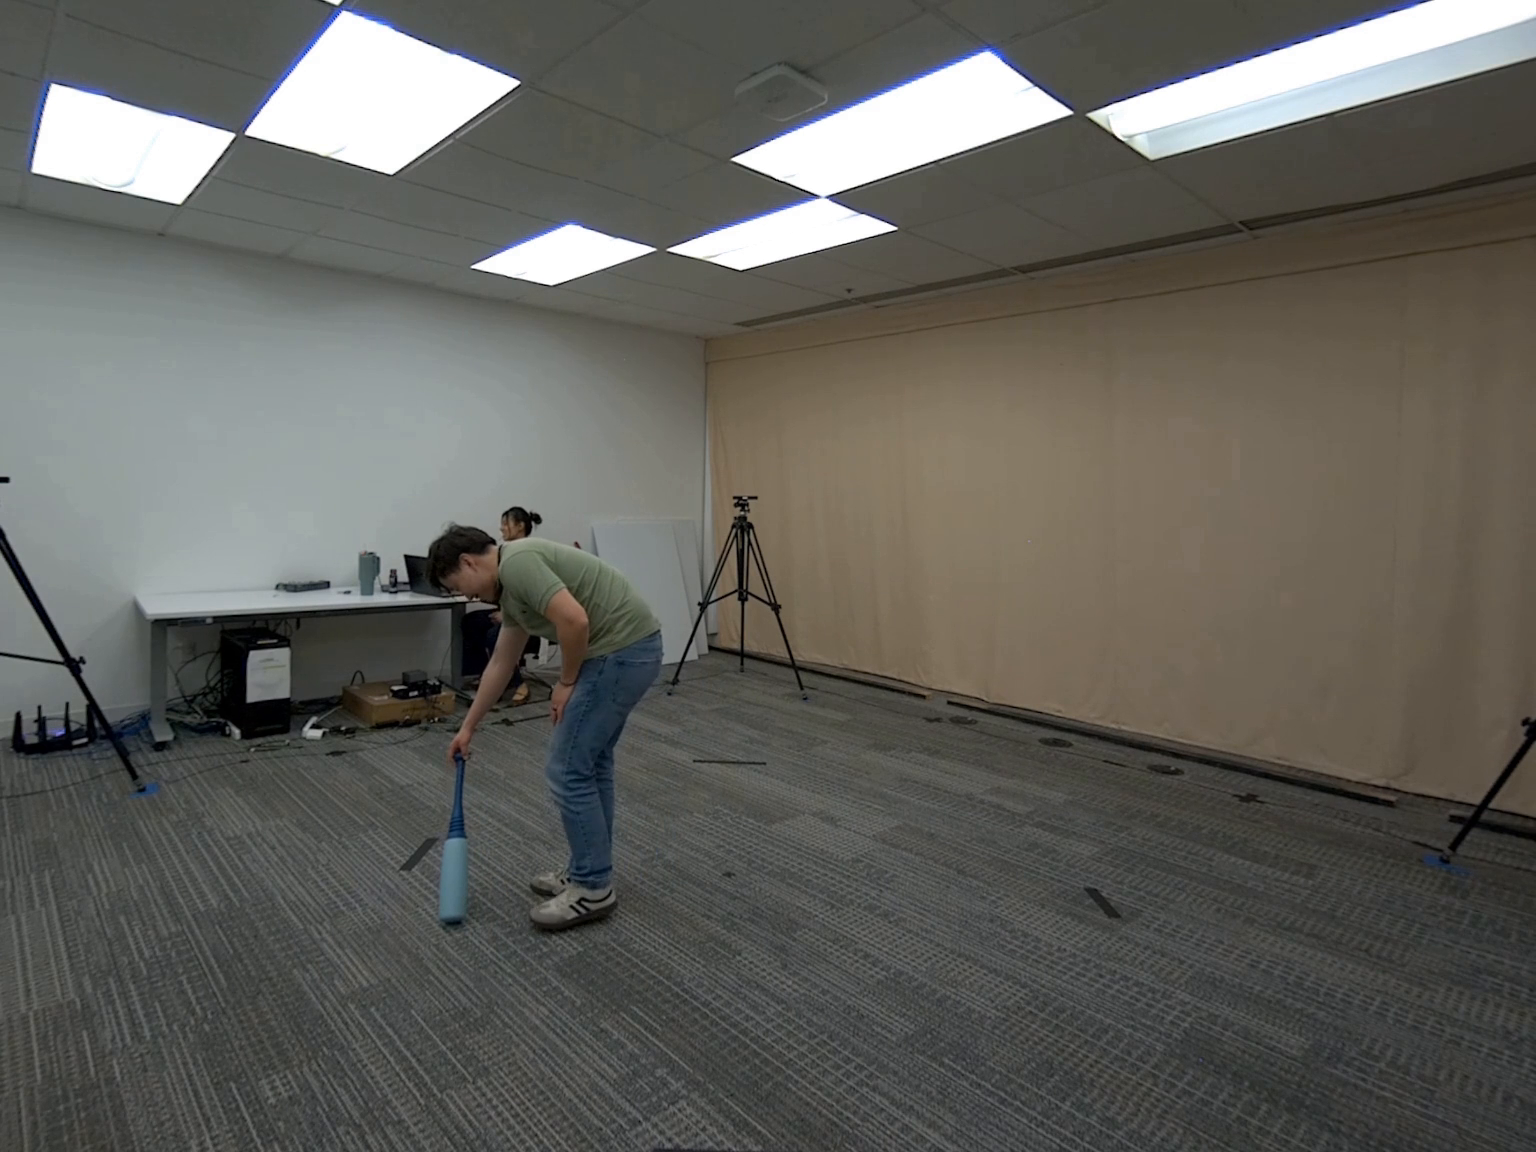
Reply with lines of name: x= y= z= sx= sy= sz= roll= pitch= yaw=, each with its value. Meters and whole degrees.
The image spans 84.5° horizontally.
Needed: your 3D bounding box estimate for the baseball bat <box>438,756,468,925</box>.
baseball bat: x=-1.042 y=0.867 z=2.813 sx=0.089 sy=0.555 sz=0.087 roll=-6 pitch=-30 yaw=-5
